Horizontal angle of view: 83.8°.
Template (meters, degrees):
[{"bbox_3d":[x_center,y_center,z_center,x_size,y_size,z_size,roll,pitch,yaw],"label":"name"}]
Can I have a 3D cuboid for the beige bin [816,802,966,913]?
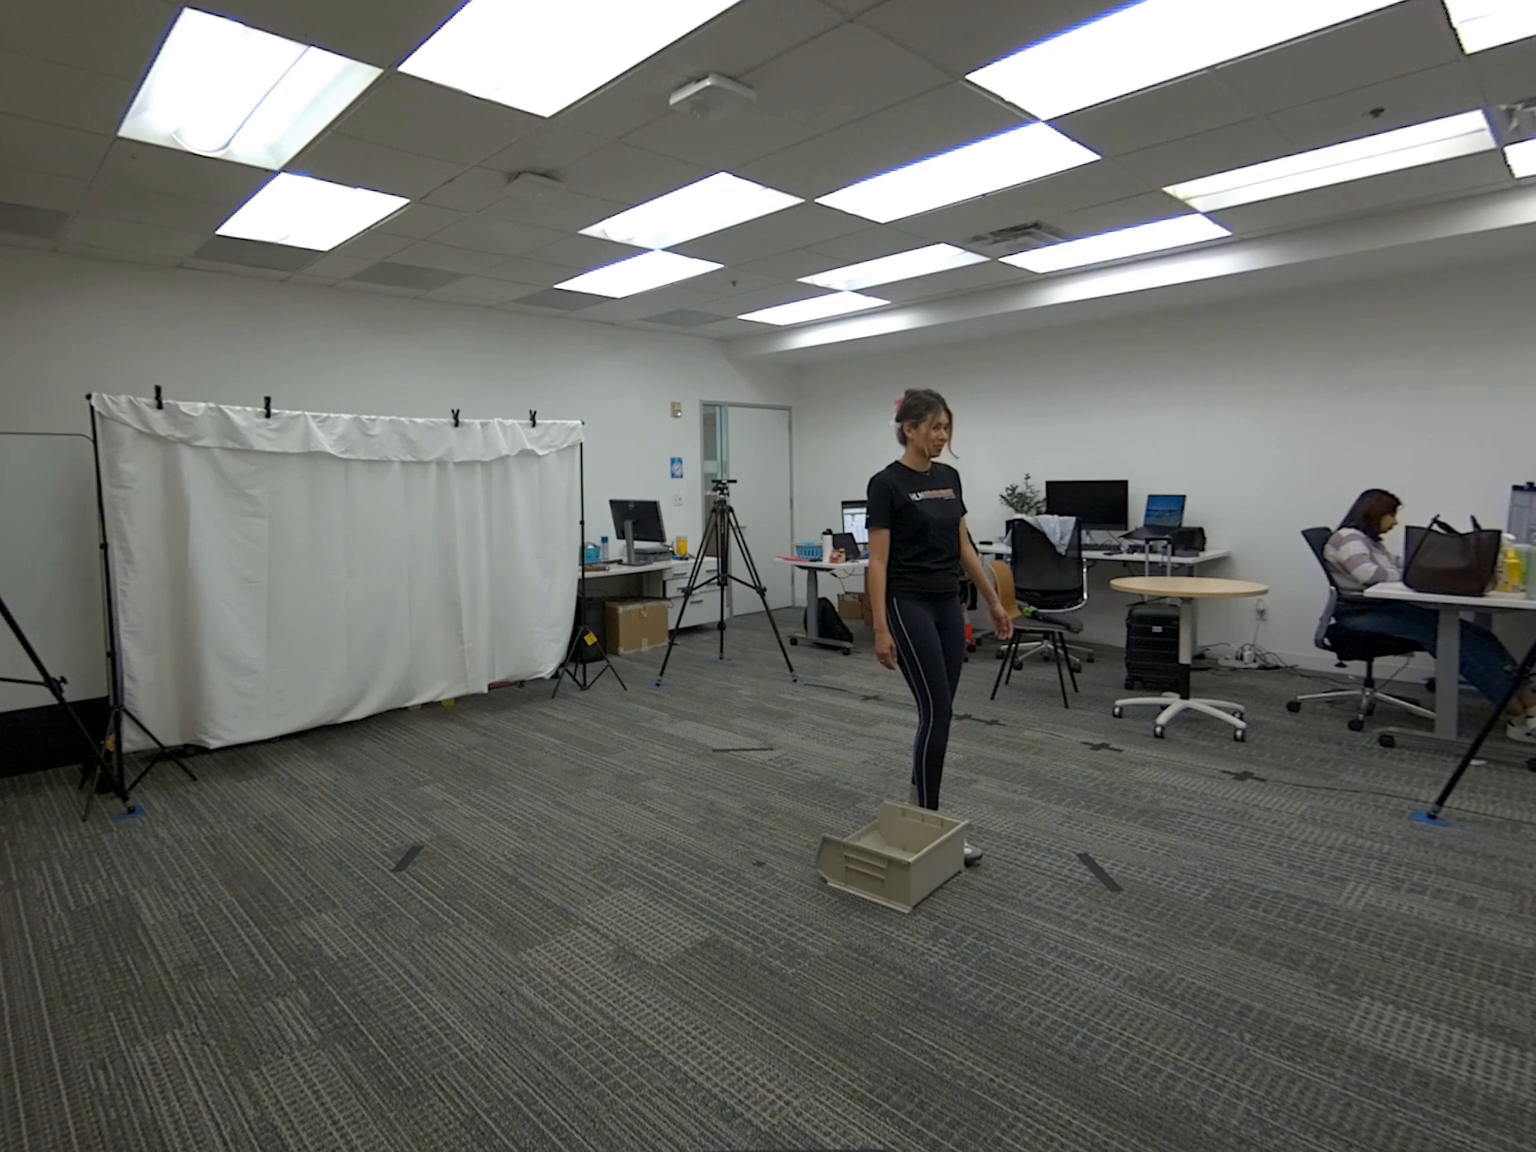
[{"bbox_3d":[0.433,0.966,2.981,0.389,0.188,0.411,5,8,41],"label":"beige bin"}]
